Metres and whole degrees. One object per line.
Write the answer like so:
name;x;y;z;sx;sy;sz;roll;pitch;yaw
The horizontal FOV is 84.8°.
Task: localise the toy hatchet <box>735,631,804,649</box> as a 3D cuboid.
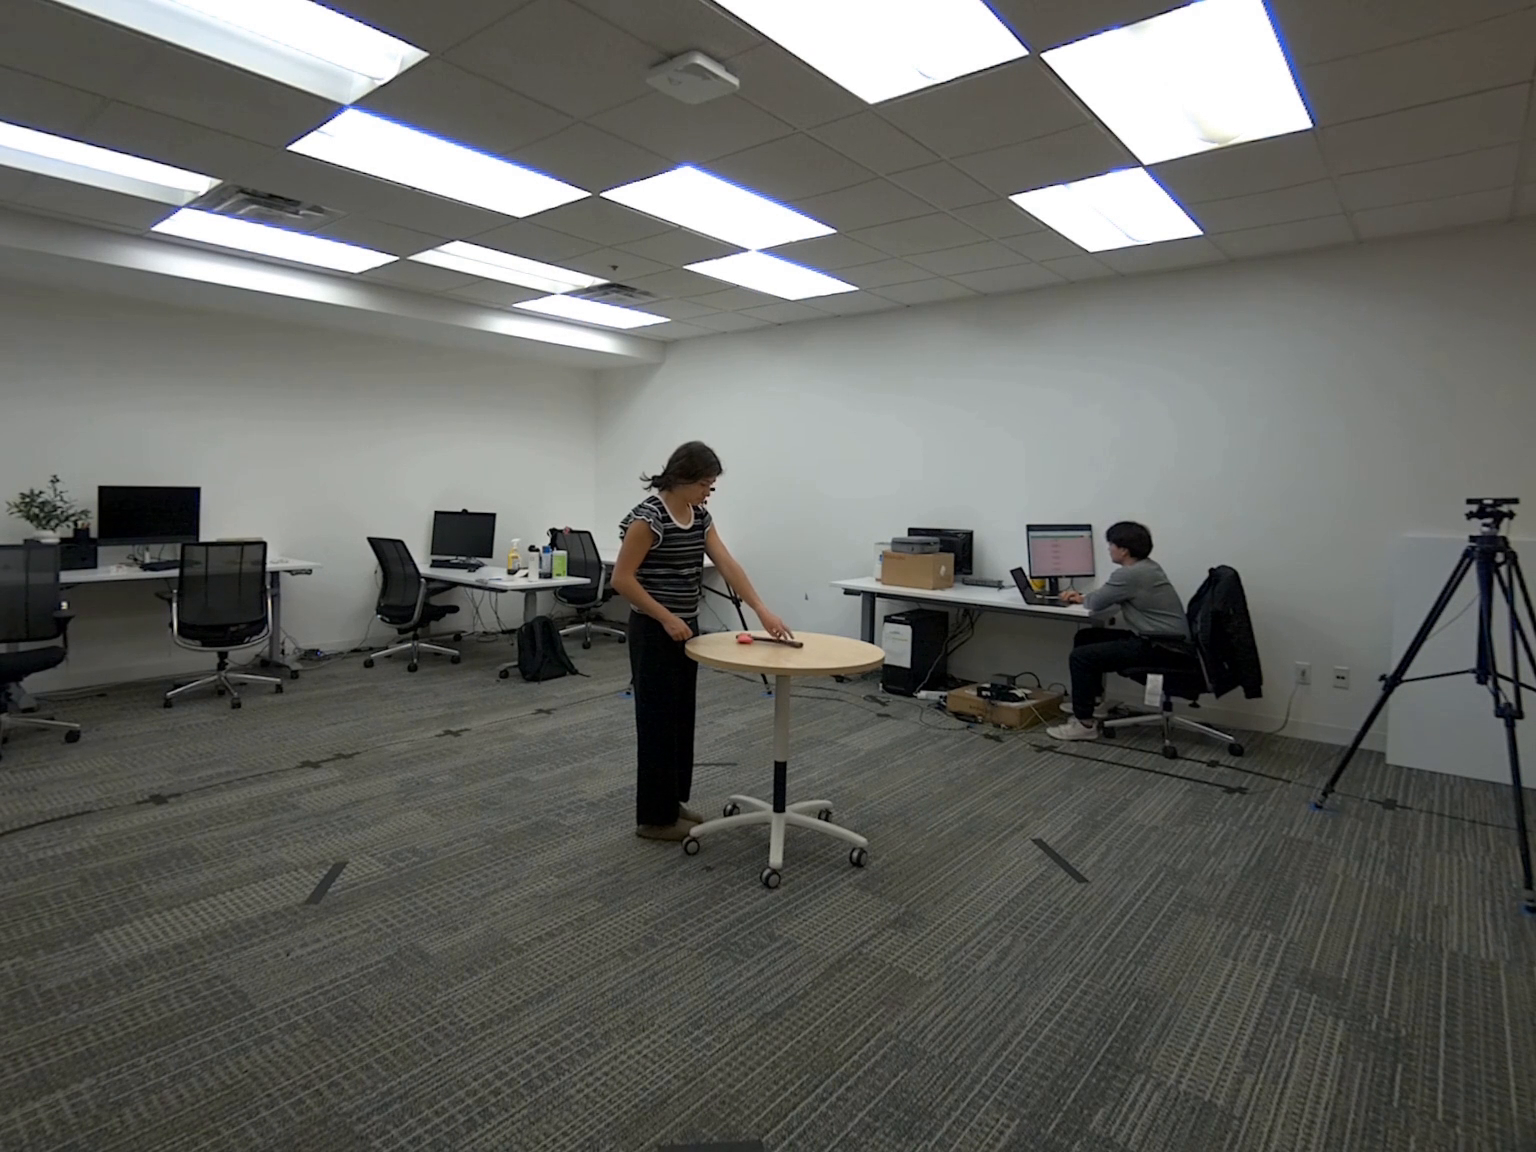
toy hatchet;-0.019;0.253;3.323;0.279;0.029;0.127;8;4;34
